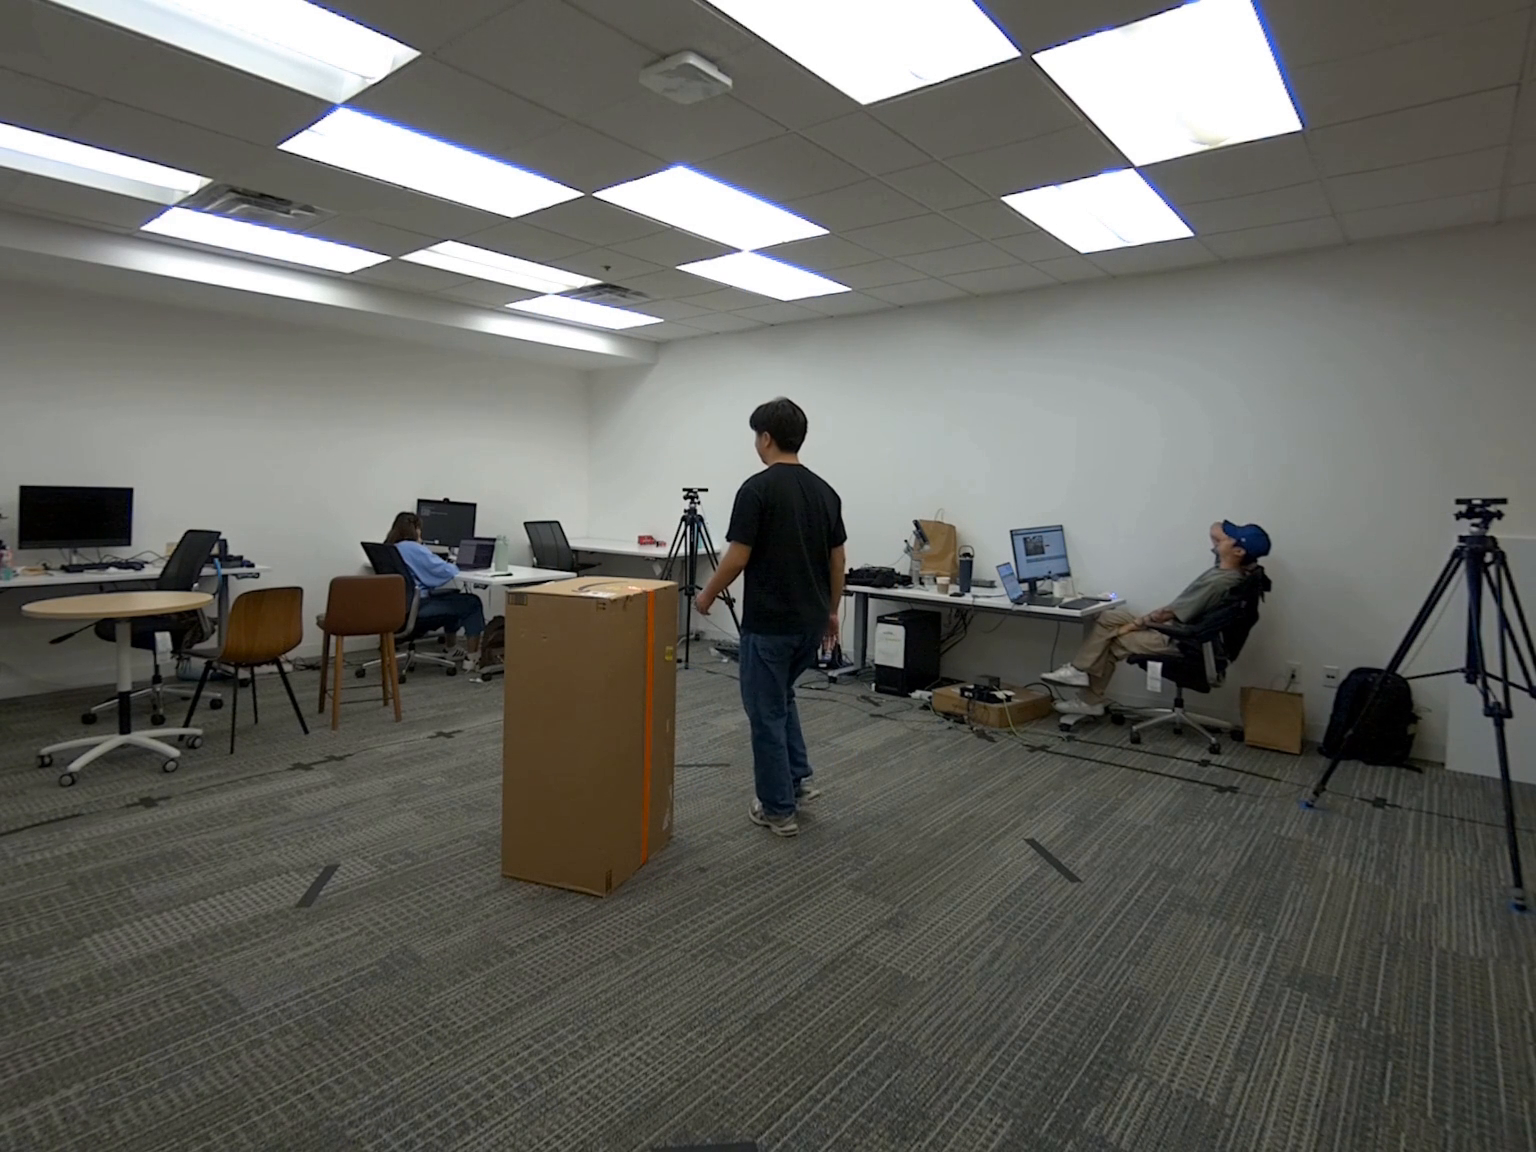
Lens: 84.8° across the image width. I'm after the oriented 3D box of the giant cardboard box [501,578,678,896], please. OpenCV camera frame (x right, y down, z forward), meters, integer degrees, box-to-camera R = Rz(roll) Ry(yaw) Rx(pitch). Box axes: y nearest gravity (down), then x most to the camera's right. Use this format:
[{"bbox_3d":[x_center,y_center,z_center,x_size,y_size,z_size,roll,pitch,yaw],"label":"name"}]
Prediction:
[{"bbox_3d":[-0.660,0.542,3.190,0.457,1.024,0.572,3,3,20],"label":"giant cardboard box"}]
